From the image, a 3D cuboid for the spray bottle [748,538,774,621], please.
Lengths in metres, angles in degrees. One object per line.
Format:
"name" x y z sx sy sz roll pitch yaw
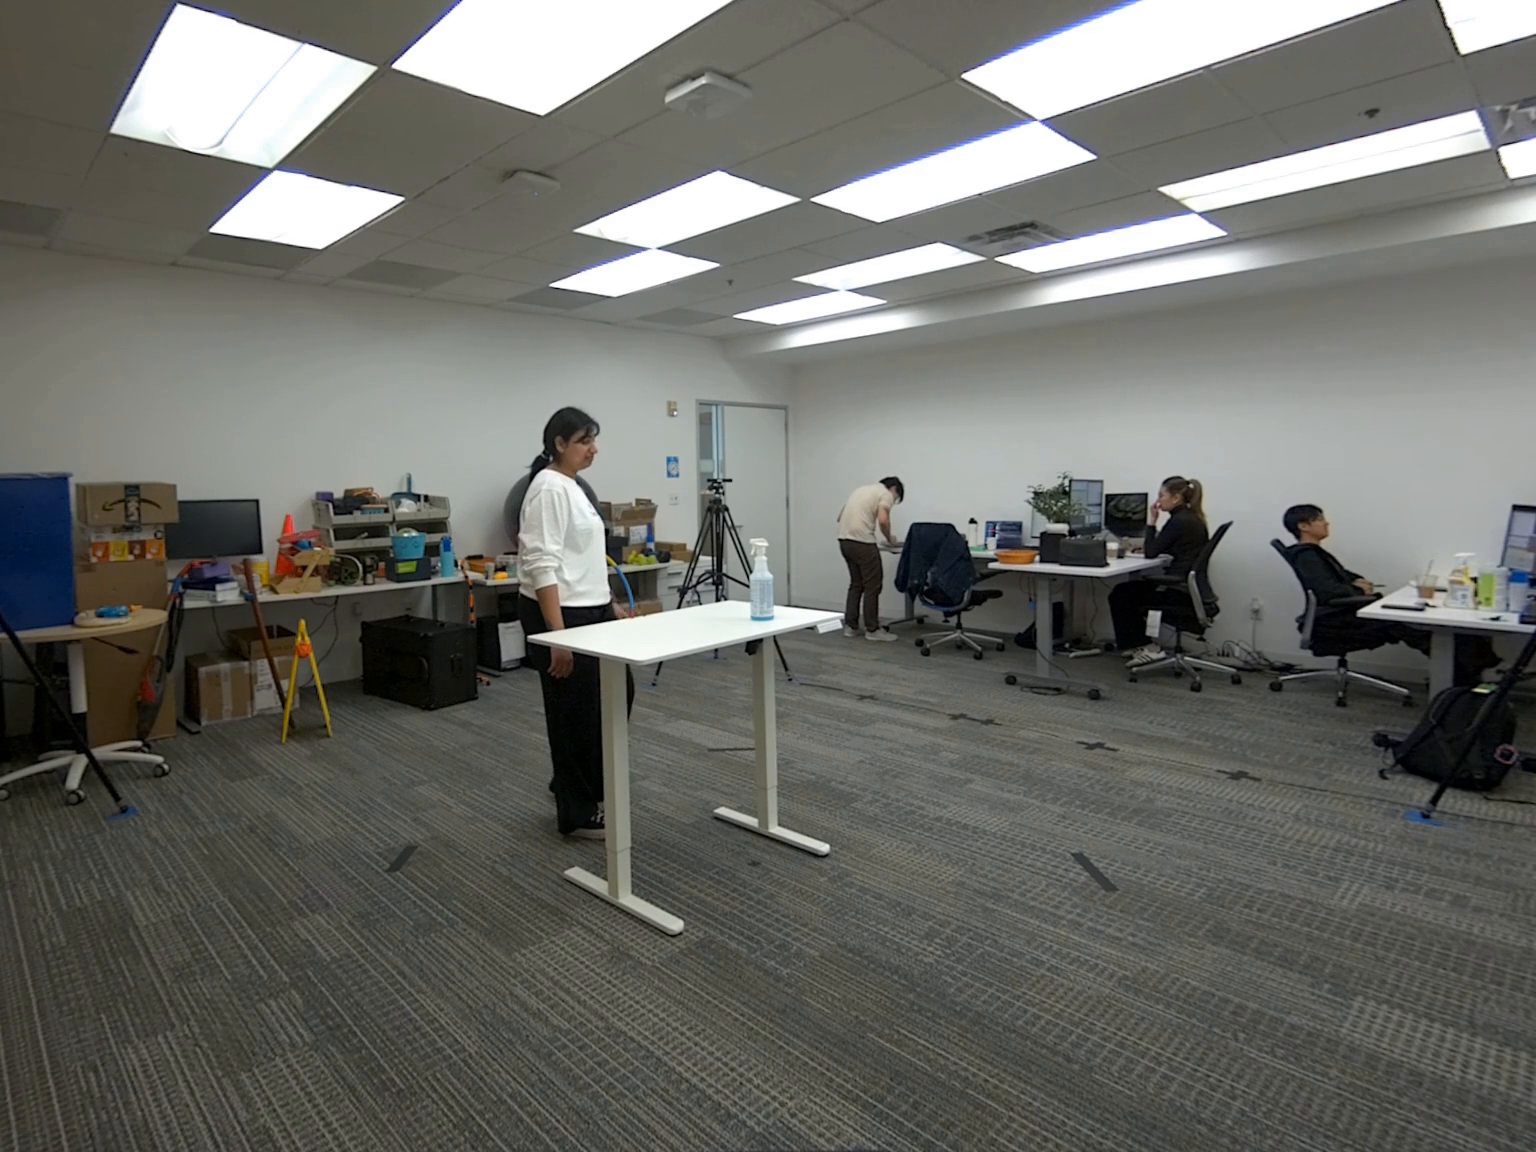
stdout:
"spray bottle" -0.030 0.013 3.107 0.088 0.296 0.089 -6 6 -19
